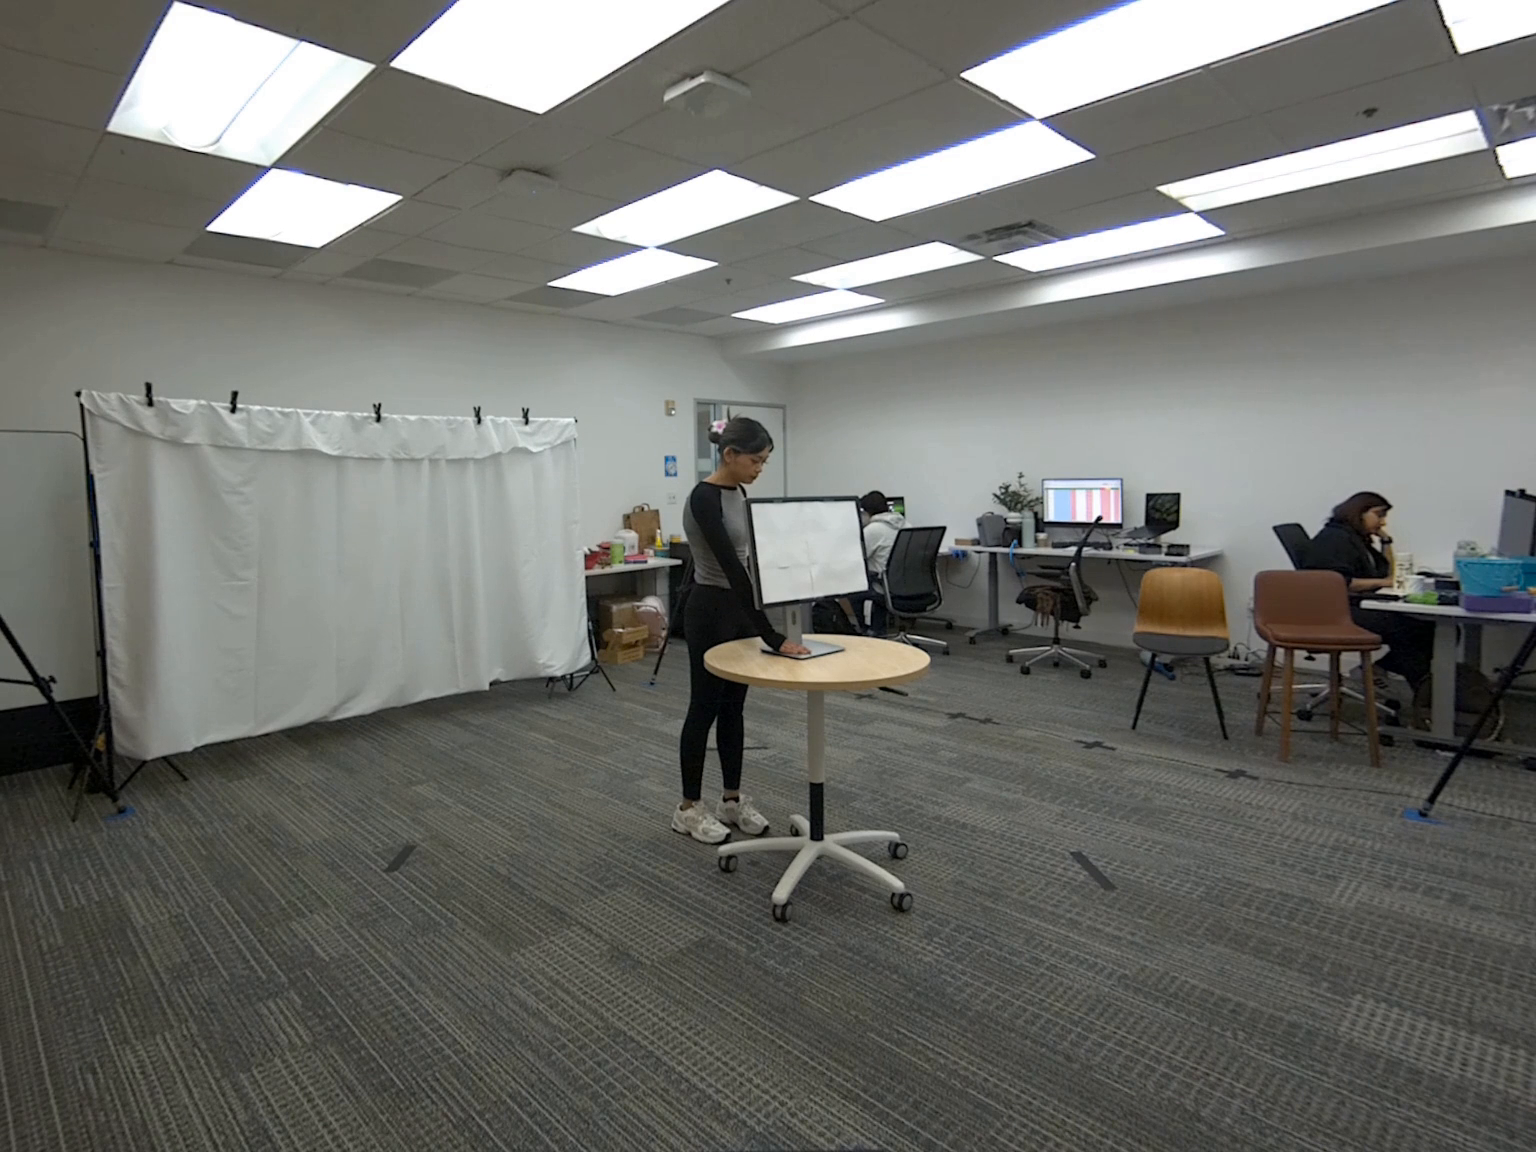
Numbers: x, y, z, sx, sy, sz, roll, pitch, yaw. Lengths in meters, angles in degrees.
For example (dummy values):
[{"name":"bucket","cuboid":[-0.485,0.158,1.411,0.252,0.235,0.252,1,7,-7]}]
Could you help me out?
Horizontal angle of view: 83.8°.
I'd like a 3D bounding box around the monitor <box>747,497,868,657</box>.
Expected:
[{"name":"monitor","cuboid":[0.122,-0.003,2.980,0.525,0.520,0.193,-5,7,-44]}]
